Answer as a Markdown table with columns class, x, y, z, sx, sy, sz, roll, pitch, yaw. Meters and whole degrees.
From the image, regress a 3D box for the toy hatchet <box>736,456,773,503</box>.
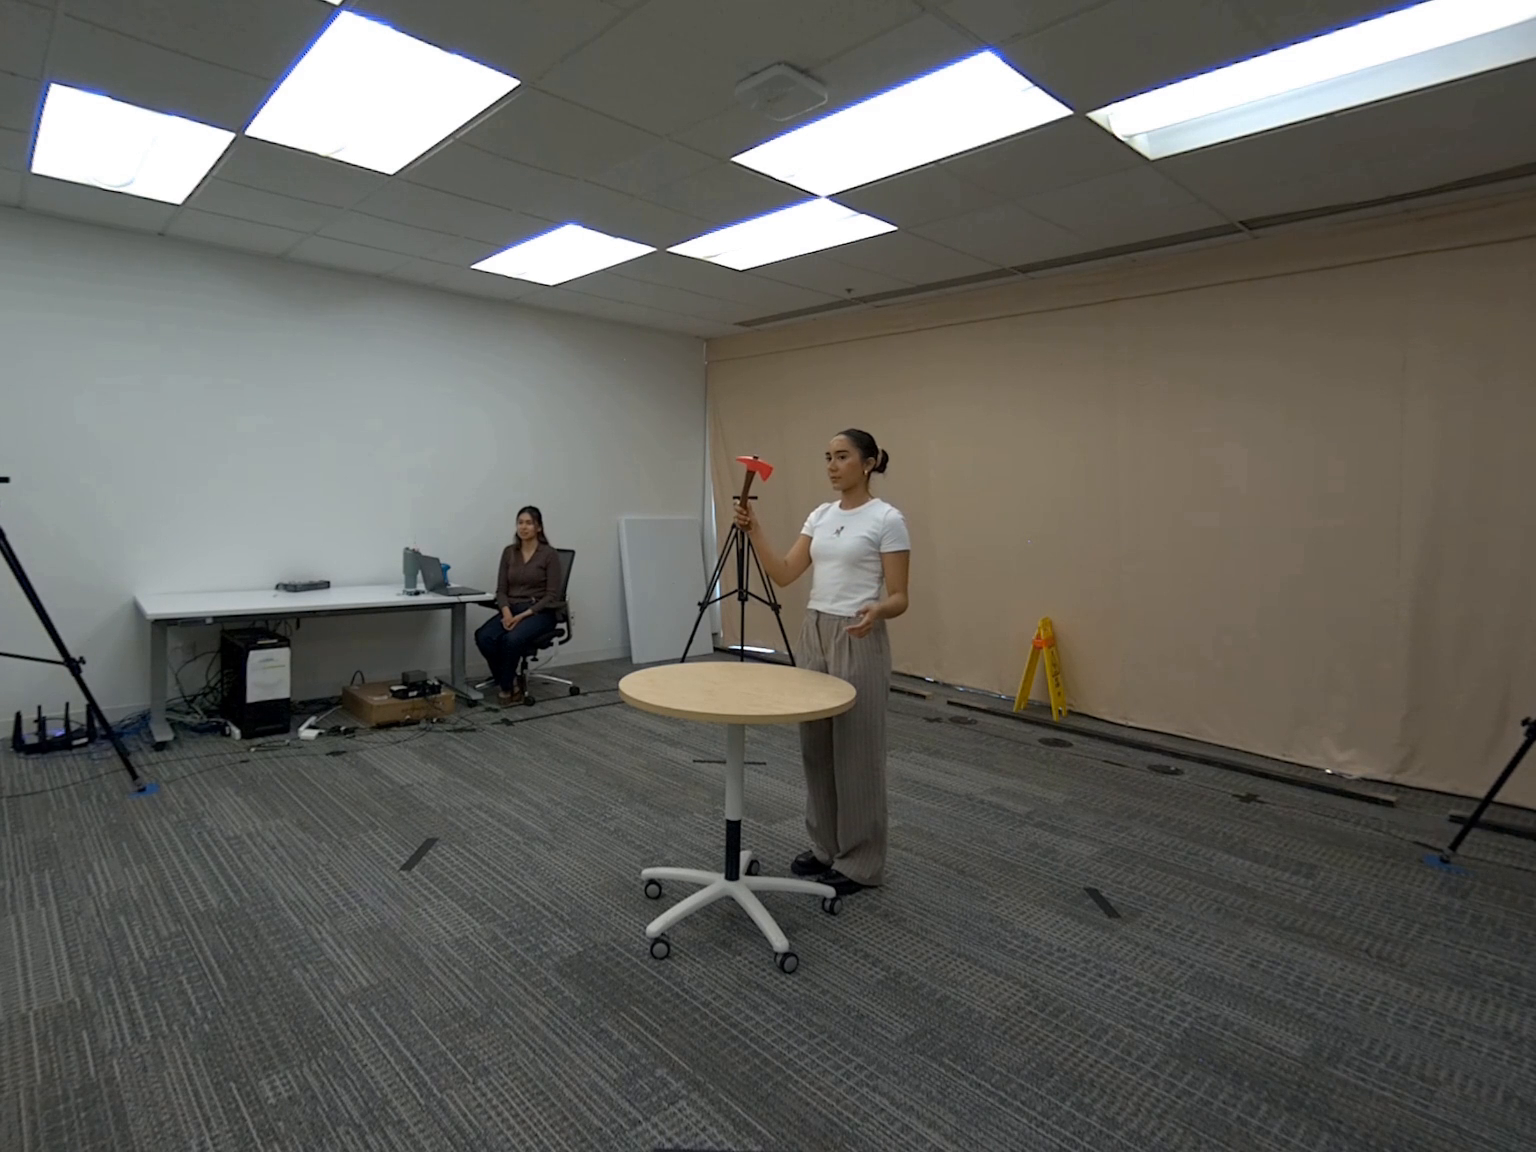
| class | x | y | z | sx | sy | sz | roll | pitch | yaw |
| --- | --- | --- | --- | --- | --- | --- | --- | --- | --- |
| toy hatchet | -0.054 | -0.288 | 2.913 | 0.131 | 0.266 | 0.030 | -6 | 17 | 2 |
